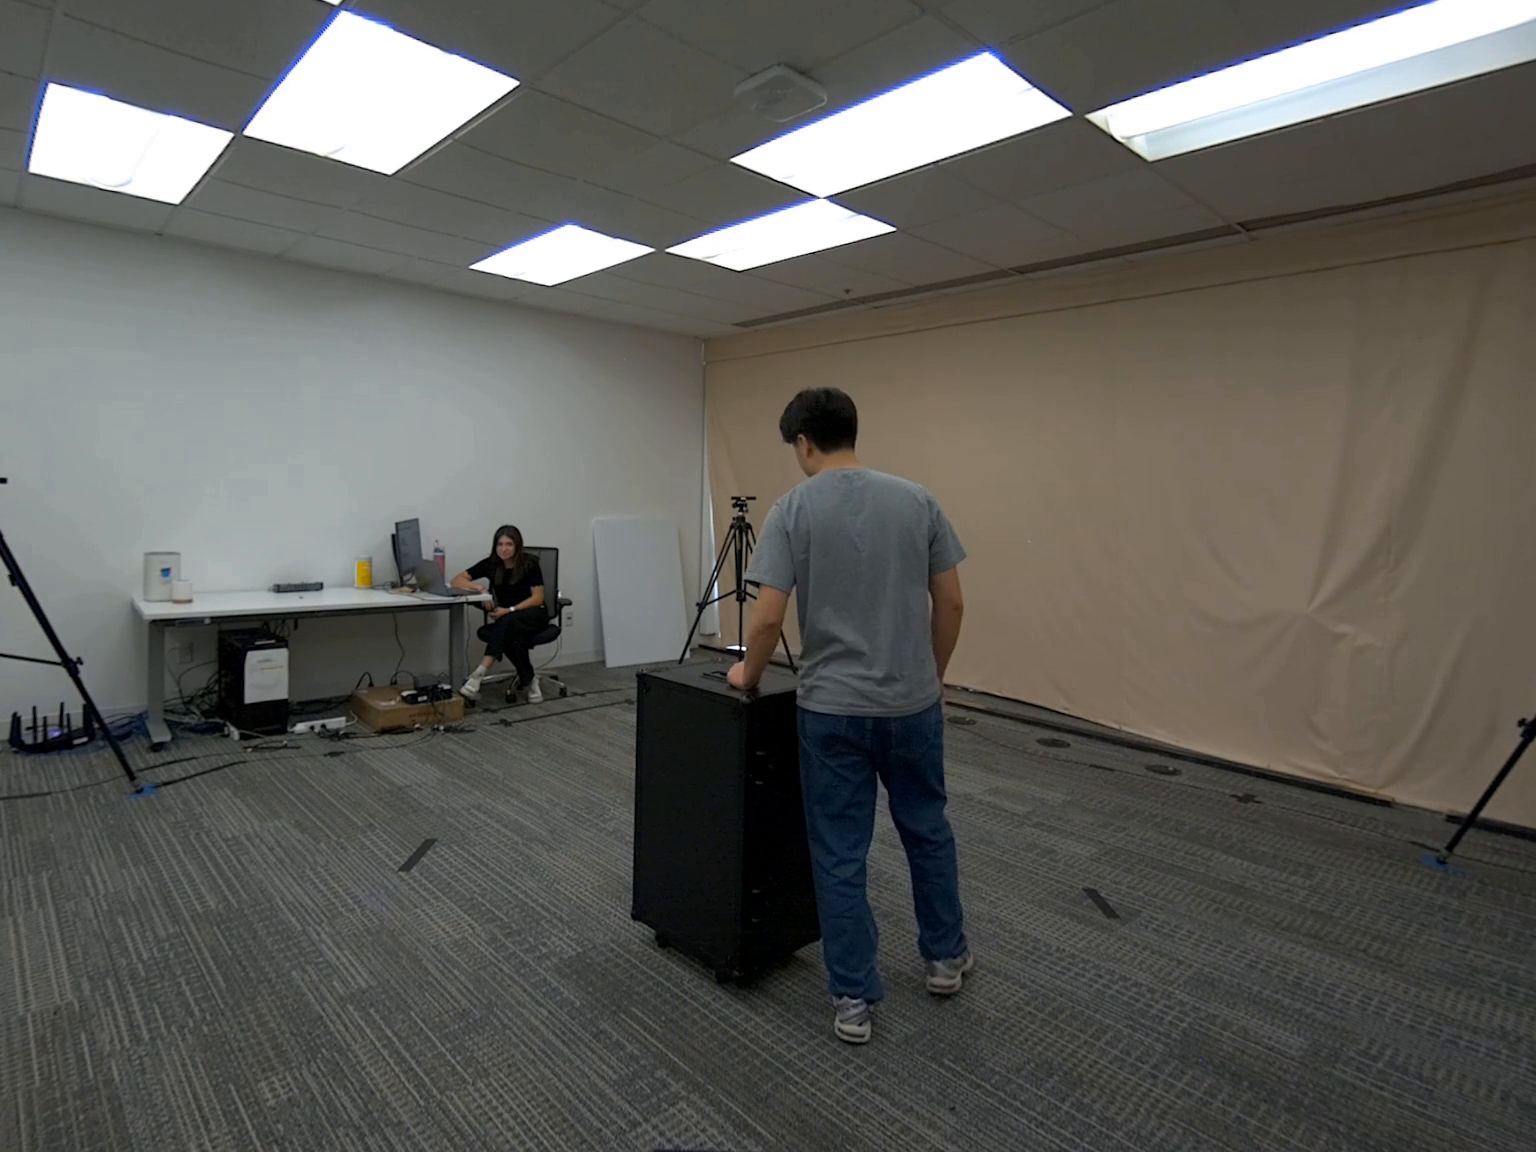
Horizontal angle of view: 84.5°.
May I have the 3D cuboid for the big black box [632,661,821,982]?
[{"bbox_3d":[-0.124,0.730,2.575,0.535,0.859,0.387,6,4,45],"label":"big black box"}]
